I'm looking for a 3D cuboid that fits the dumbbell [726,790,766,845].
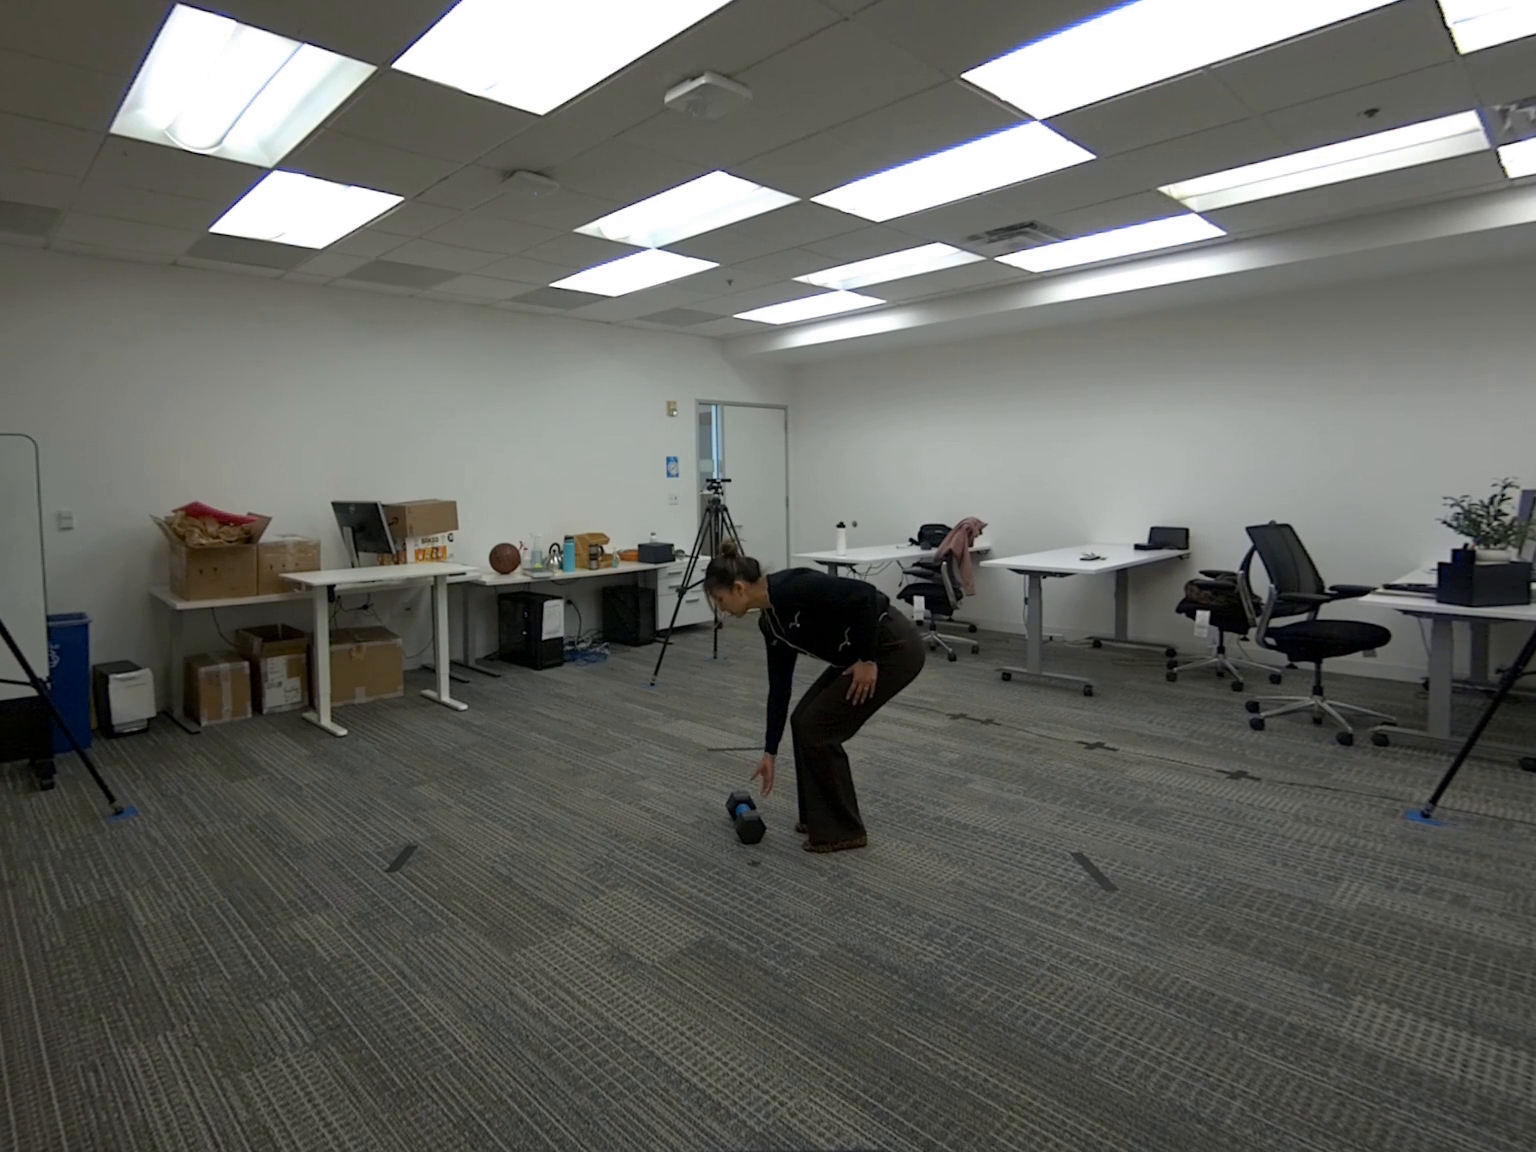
[{"bbox_3d":[-0.086,0.959,3.406,0.108,0.121,0.297,-32,11,-6],"label":"dumbbell"}]
